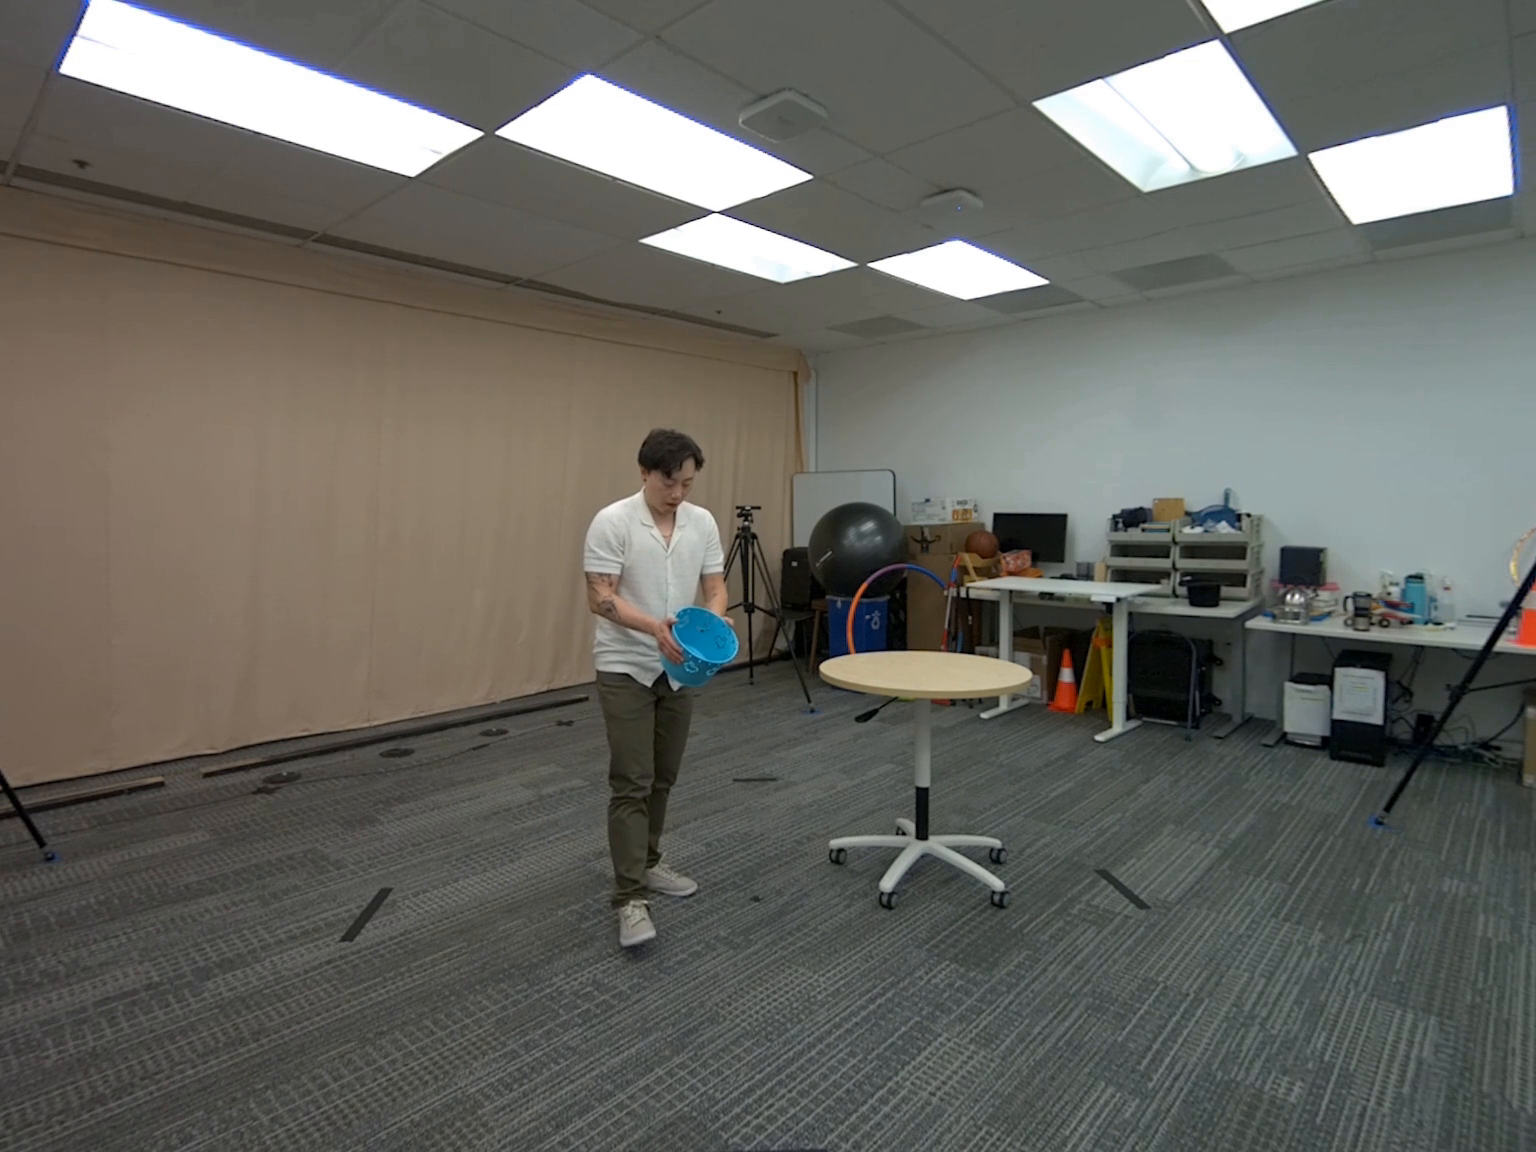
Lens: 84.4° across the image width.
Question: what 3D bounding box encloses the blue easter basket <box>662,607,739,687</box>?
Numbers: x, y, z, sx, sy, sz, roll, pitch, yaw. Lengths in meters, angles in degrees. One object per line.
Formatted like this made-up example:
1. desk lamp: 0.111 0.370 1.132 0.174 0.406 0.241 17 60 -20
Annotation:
1. blue easter basket: -0.217 0.233 2.692 0.239 0.156 0.248 21 35 -18
